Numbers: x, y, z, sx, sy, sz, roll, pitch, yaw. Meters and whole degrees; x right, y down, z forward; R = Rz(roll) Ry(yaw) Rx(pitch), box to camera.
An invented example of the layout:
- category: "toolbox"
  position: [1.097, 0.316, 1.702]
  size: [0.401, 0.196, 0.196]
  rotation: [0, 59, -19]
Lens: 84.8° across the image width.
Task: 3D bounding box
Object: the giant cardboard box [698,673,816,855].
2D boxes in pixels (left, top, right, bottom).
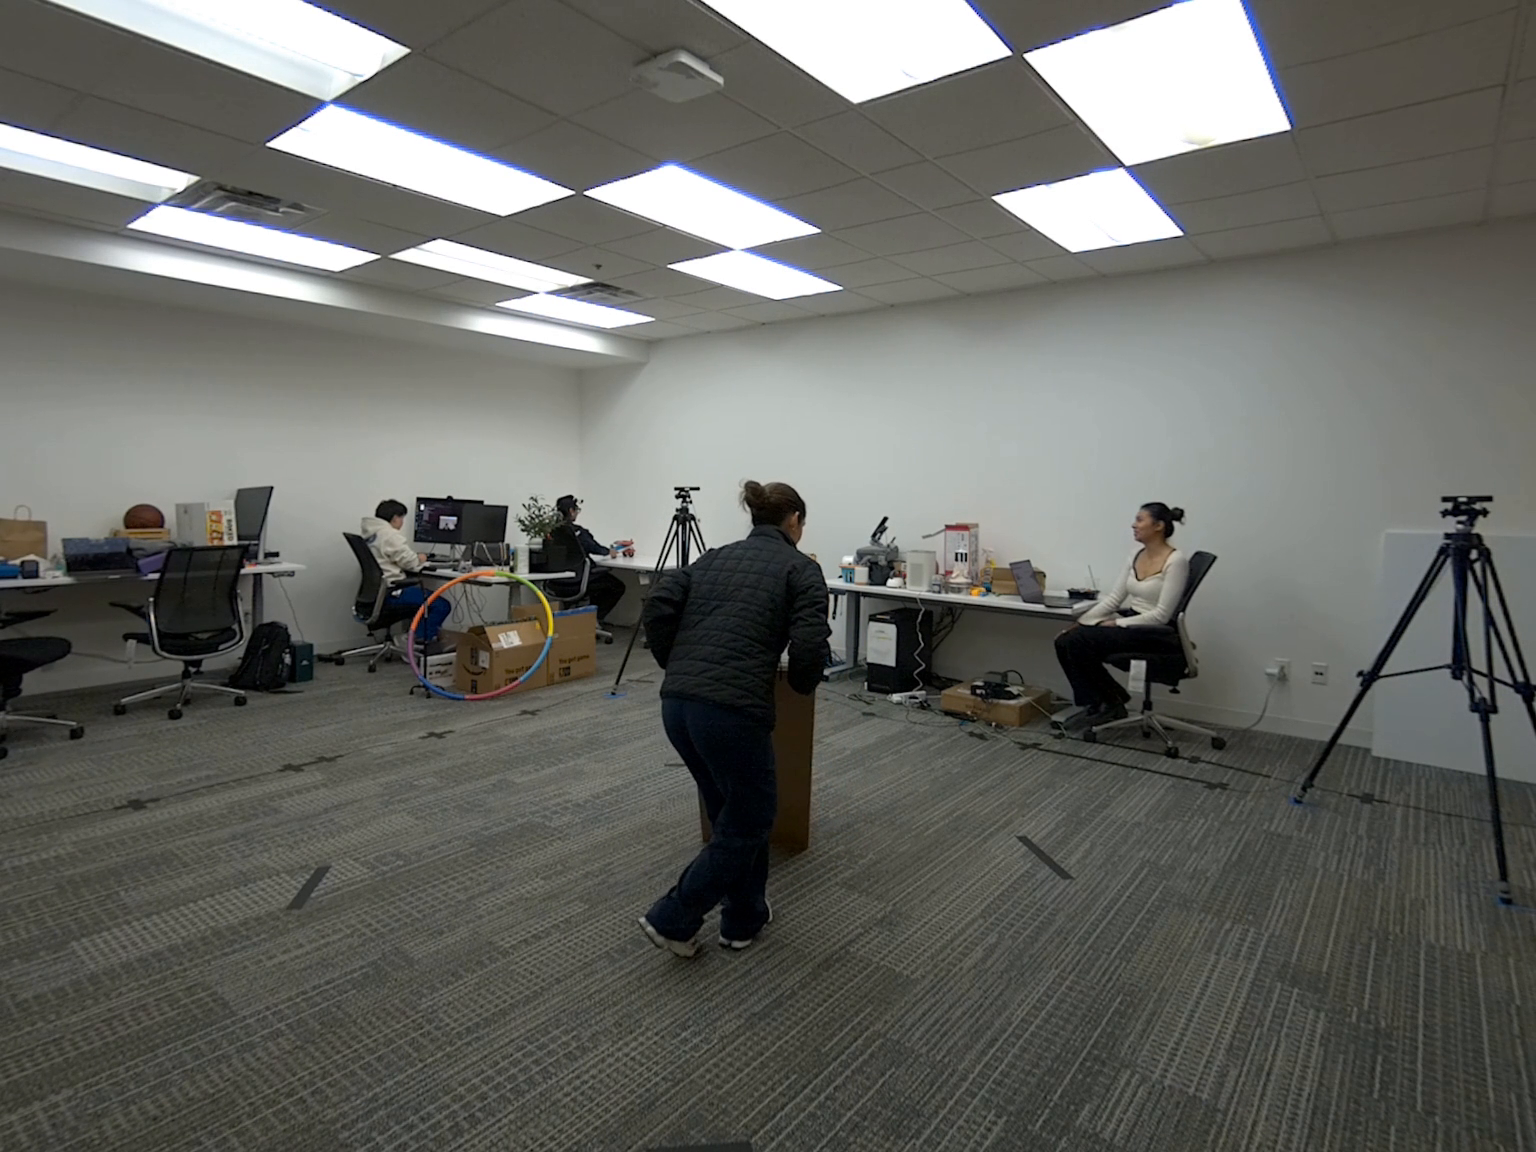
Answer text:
- category: "giant cardboard box"
  position: [-0.015, 0.479, 3.241]
  size: [0.450, 0.997, 0.598]
  rotation: [3, 41, 4]
